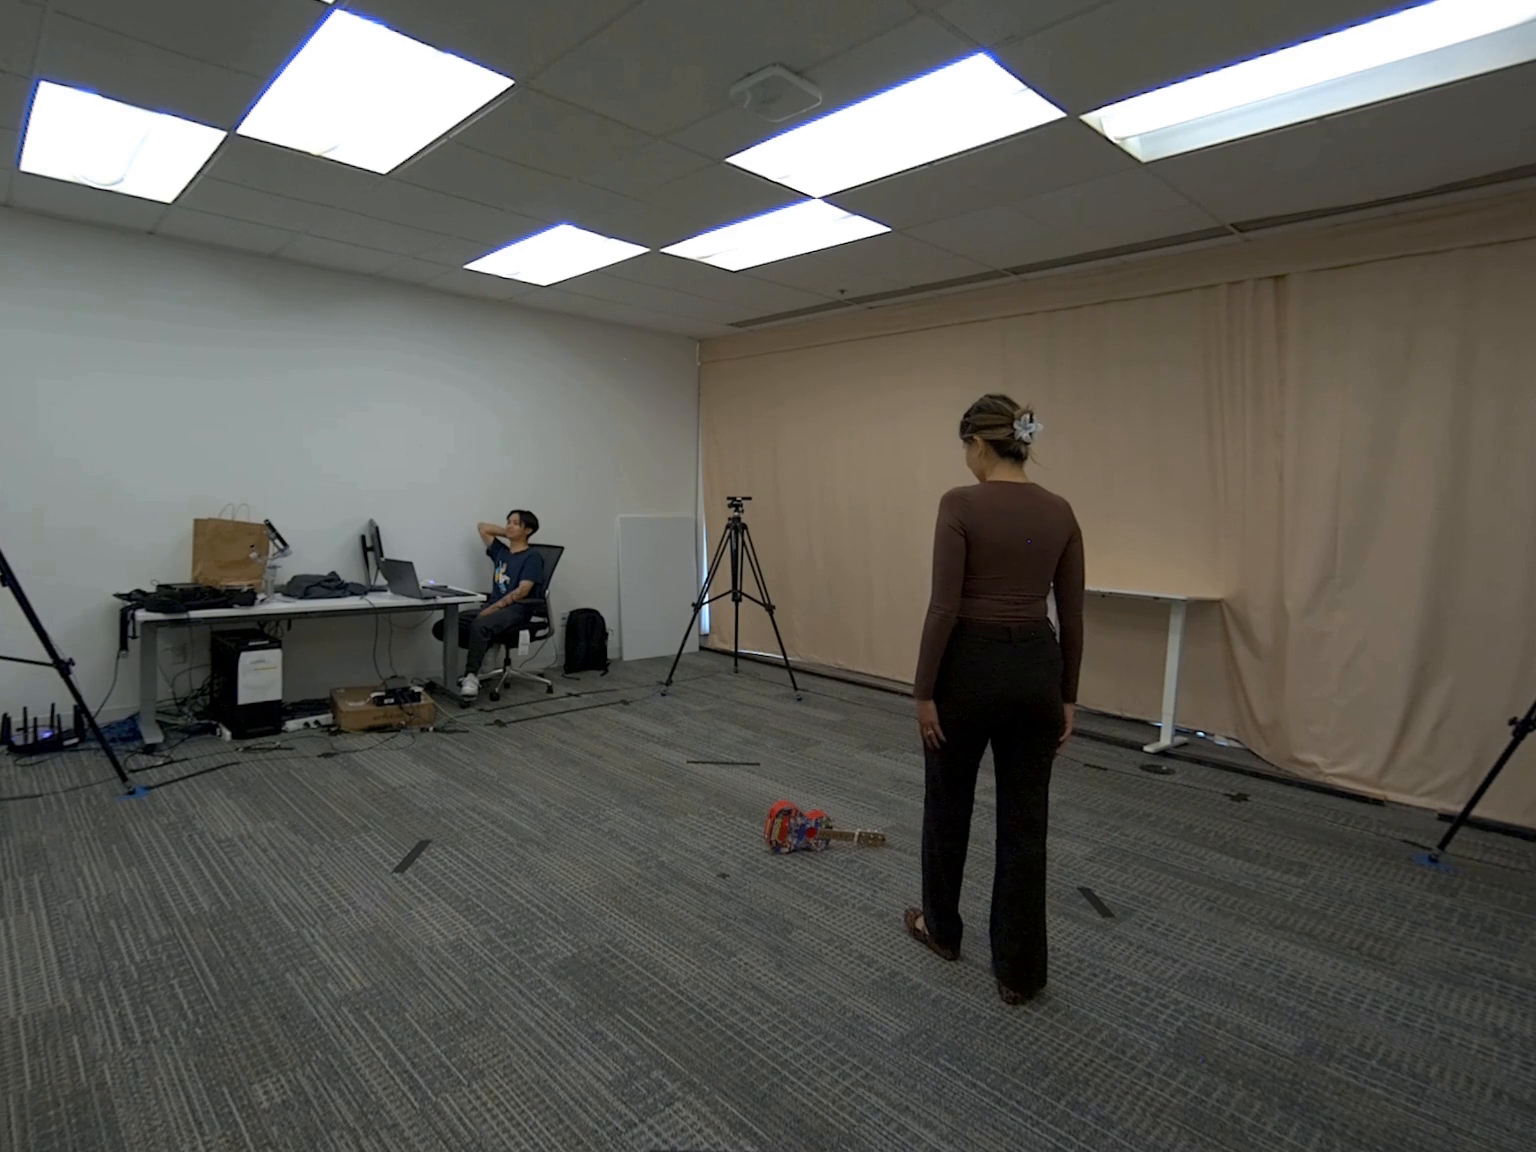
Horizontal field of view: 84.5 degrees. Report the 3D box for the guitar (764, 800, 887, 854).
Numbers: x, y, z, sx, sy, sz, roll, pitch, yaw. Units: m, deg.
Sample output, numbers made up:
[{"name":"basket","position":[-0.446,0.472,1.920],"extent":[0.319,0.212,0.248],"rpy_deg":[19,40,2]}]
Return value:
[{"name":"guitar","position":[0.214,1.049,3.370],"extent":[0.490,0.193,0.072],"rpy_deg":[20,1,-16]}]
